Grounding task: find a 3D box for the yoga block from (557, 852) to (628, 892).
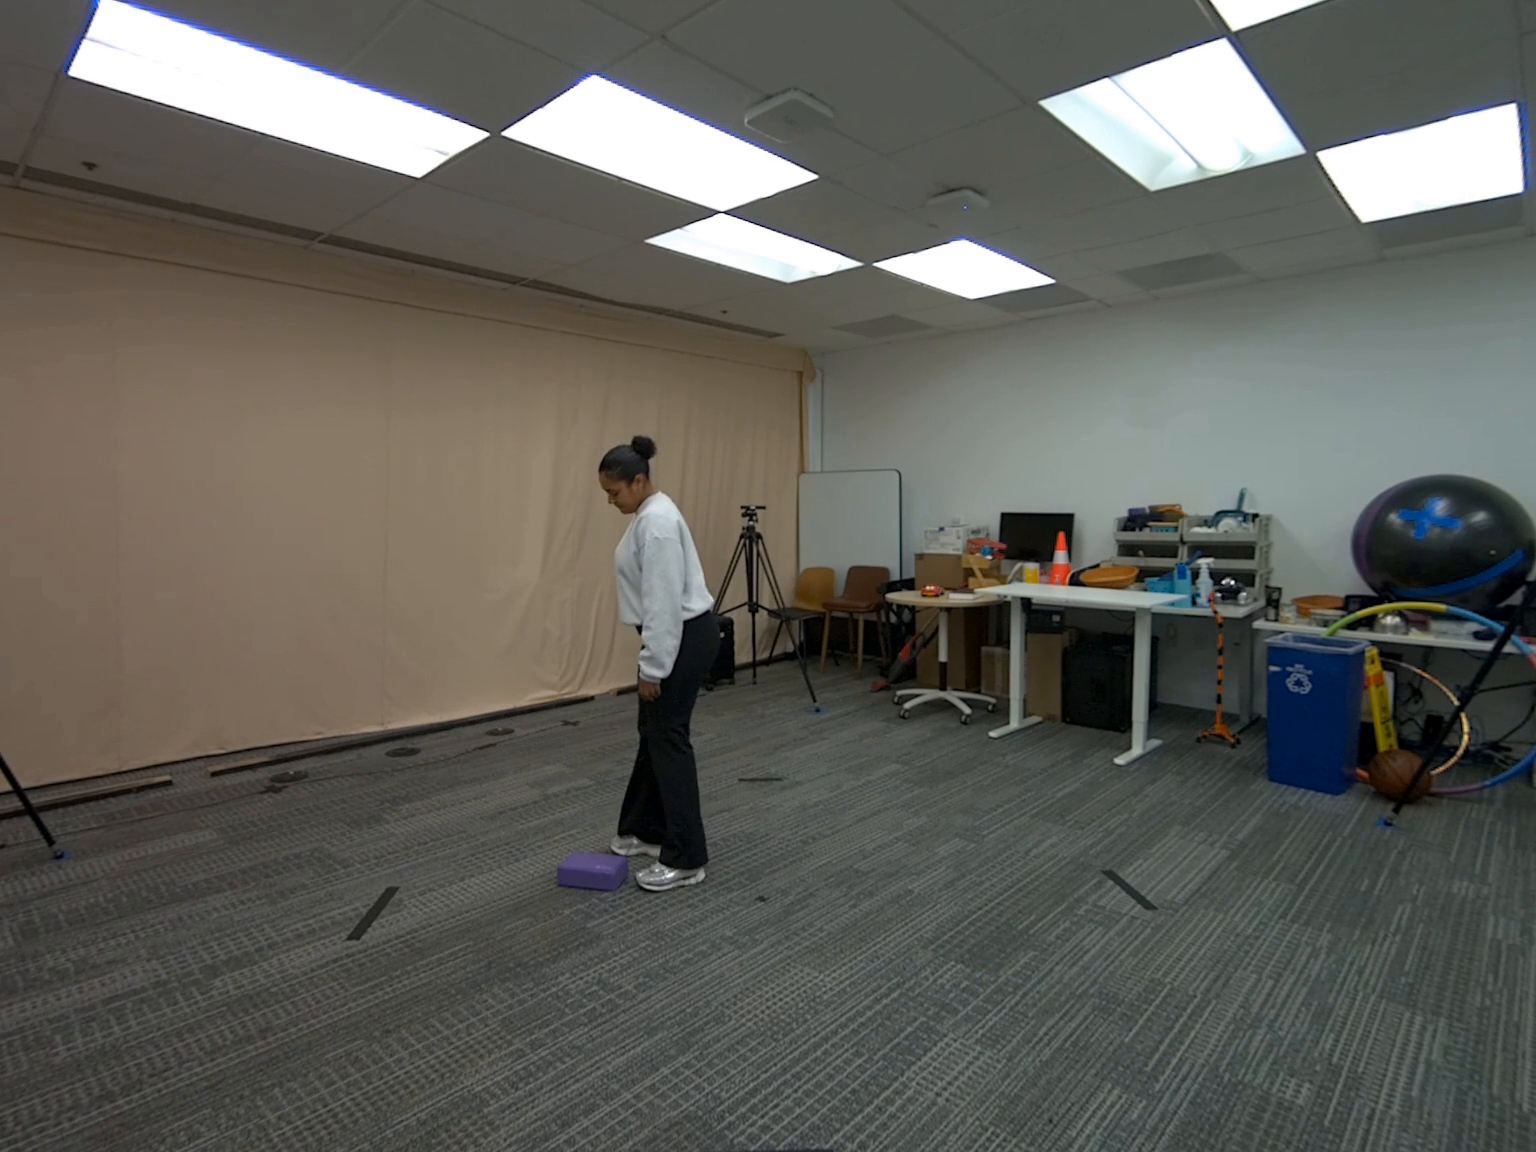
[{"bbox_3d":[-0.649,1.093,3.140,0.232,0.076,0.147,1,1,10],"label":"yoga block"}]
